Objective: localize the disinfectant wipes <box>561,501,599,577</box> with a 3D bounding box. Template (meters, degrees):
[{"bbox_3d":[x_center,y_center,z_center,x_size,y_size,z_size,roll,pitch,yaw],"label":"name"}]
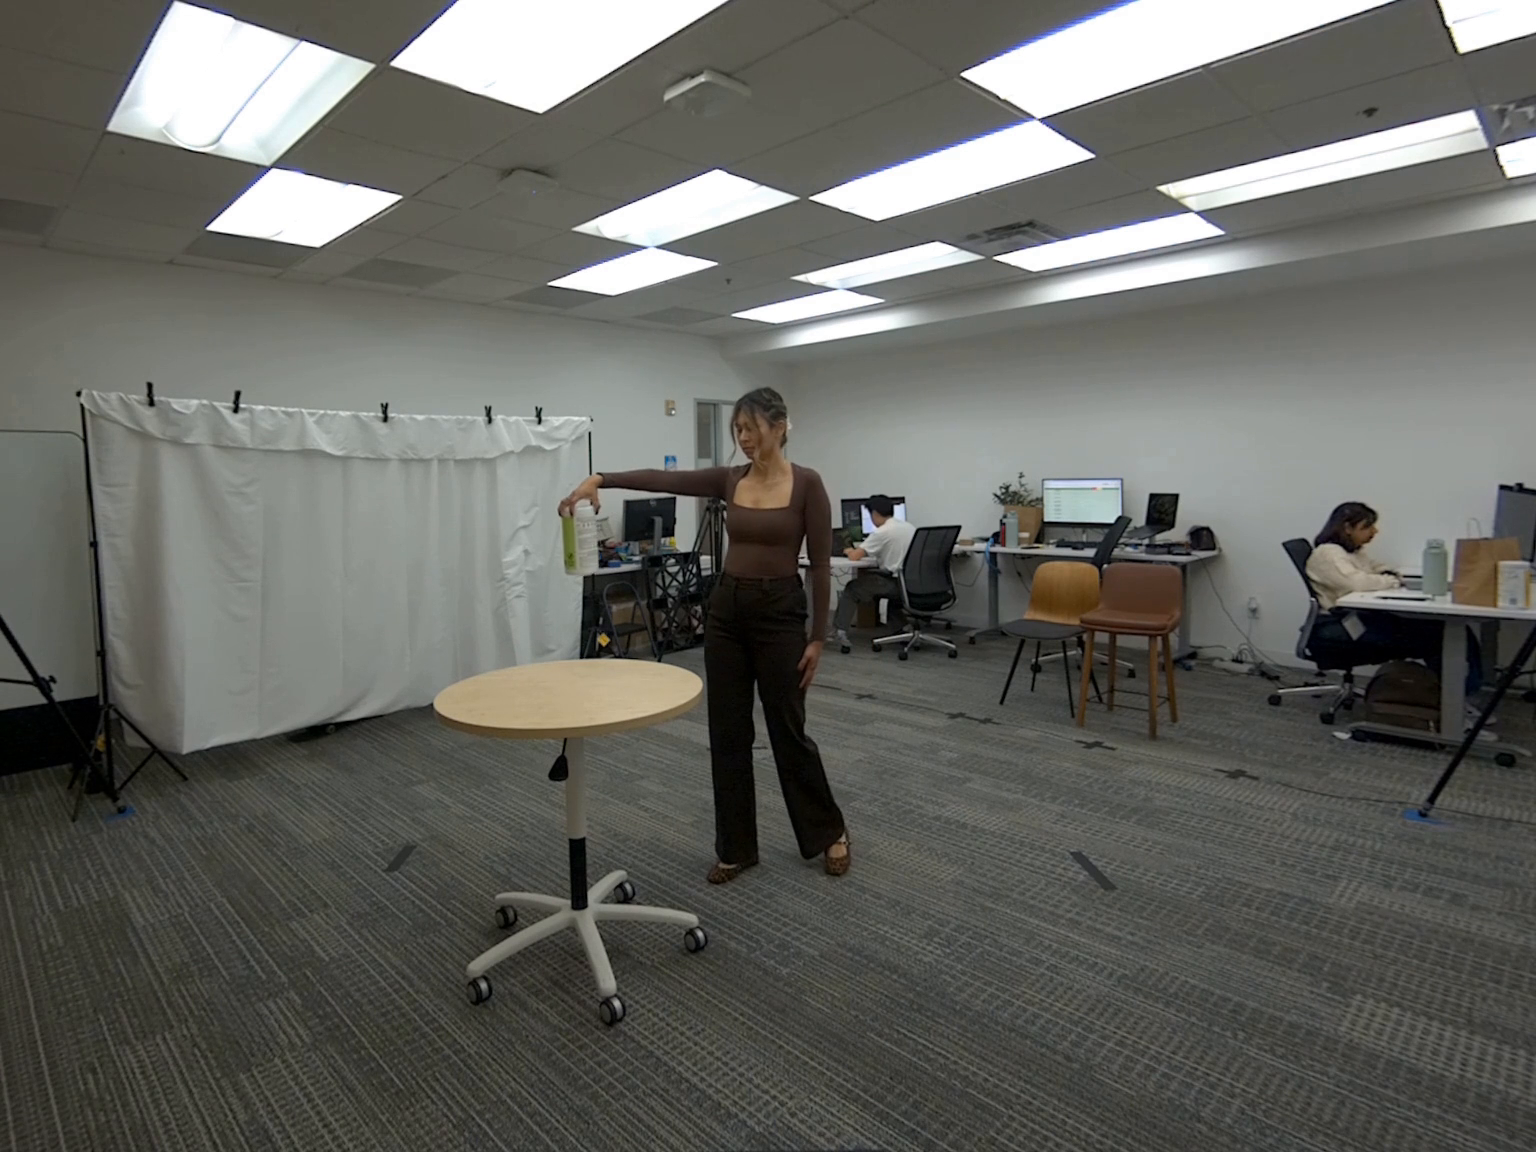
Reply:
[{"bbox_3d":[-0.602,-0.115,2.744,0.118,0.216,0.118,-1,6,-2],"label":"disinfectant wipes"}]
